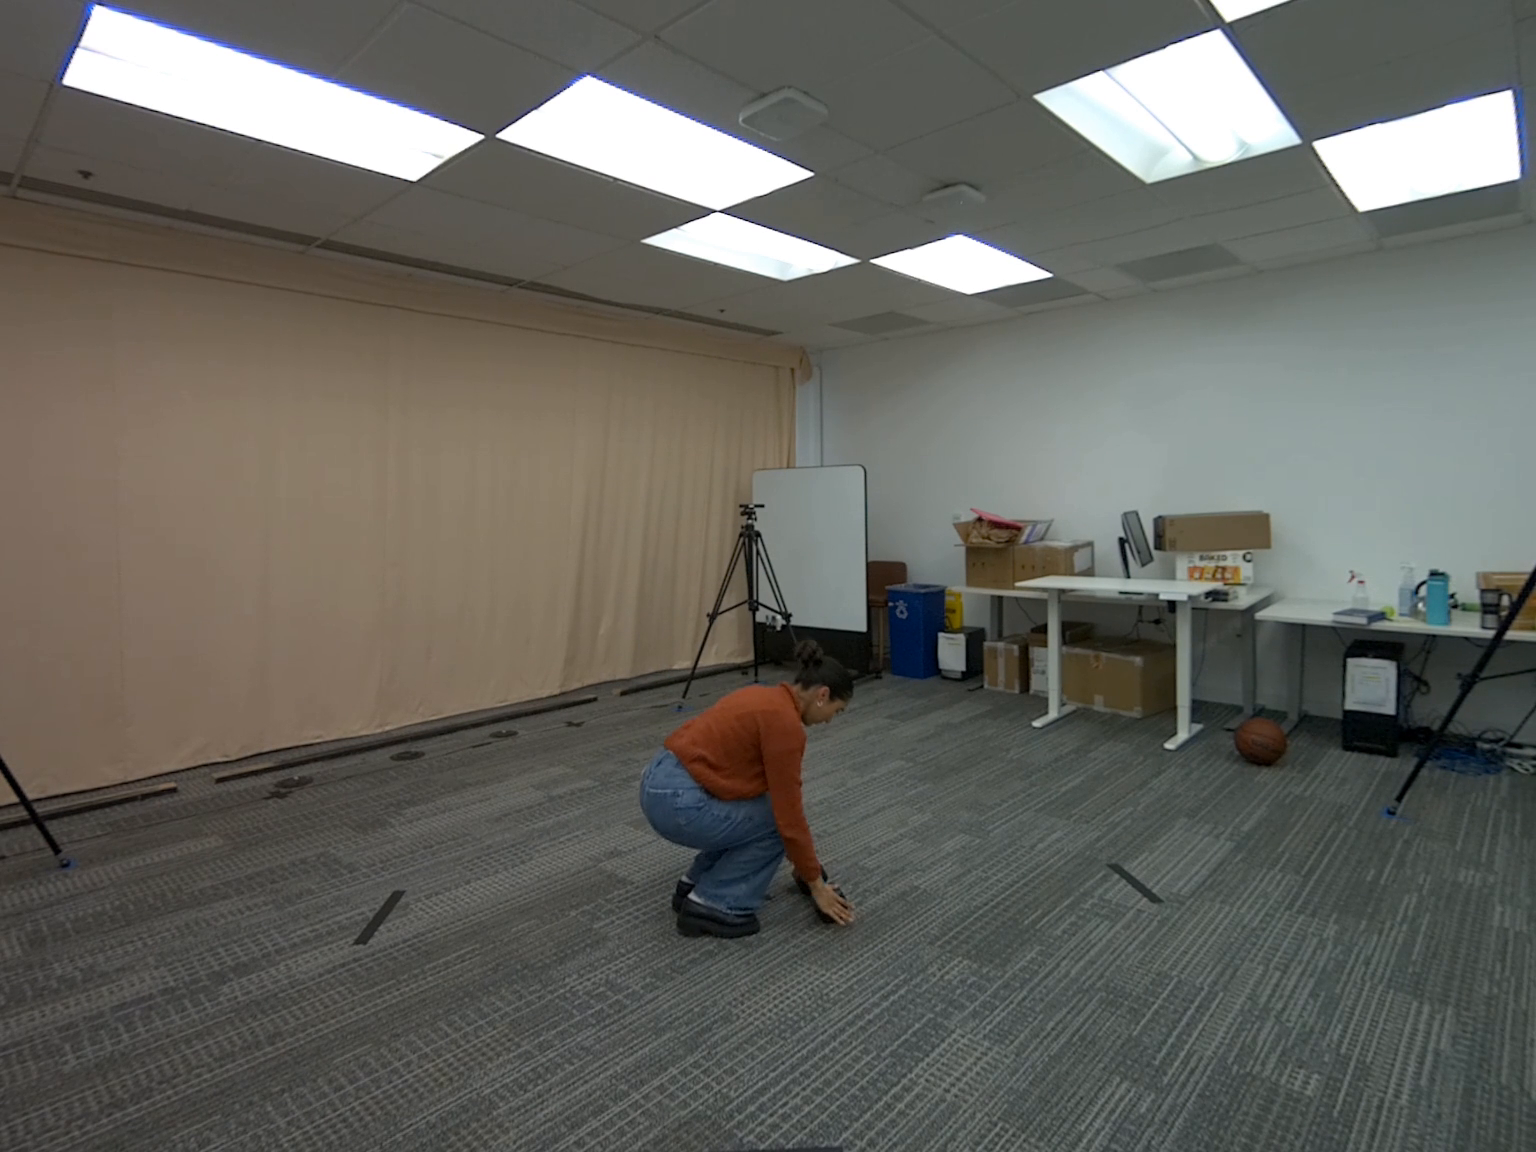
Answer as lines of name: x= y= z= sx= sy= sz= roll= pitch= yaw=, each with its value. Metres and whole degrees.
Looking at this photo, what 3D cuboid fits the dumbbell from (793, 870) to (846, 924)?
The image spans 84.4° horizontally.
dumbbell: x=0.183 y=1.093 z=2.913 sx=0.121 sy=0.108 sz=0.298 roll=-2 pitch=5 yaw=-15
